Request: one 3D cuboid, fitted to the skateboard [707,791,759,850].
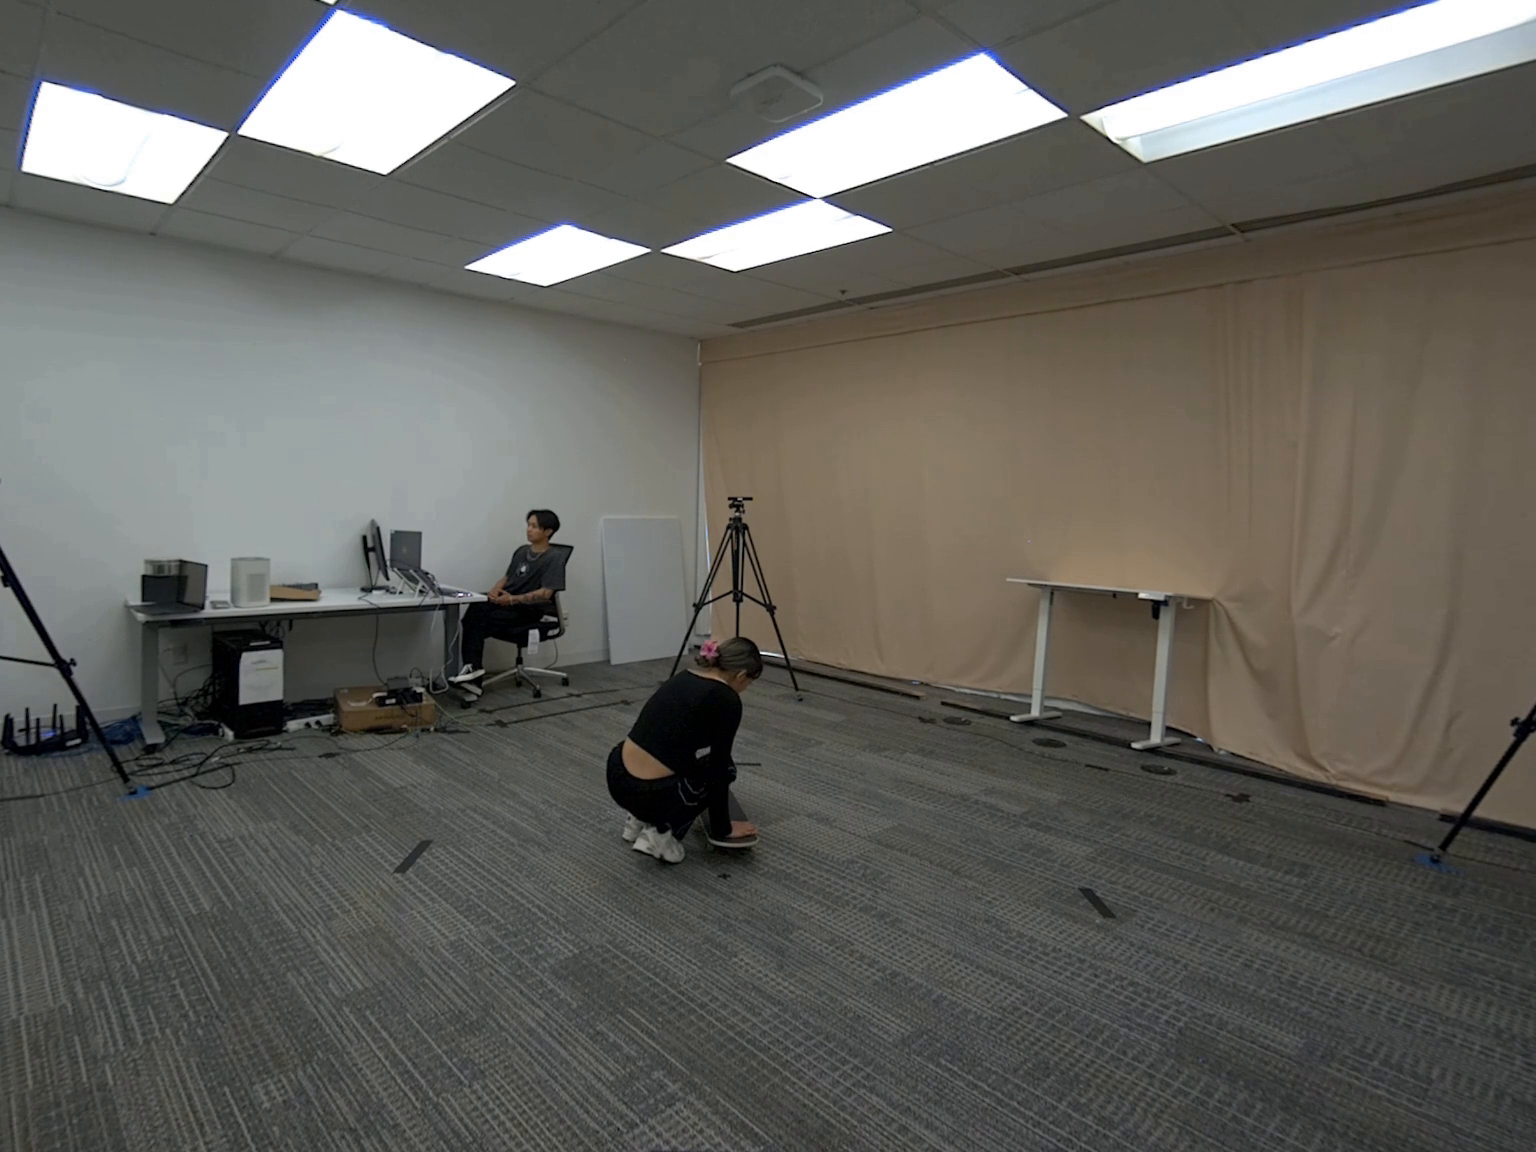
[{"bbox_3d":[-0.204,1.016,3.530,0.191,0.110,0.797,1,6,-15],"label":"skateboard"}]
